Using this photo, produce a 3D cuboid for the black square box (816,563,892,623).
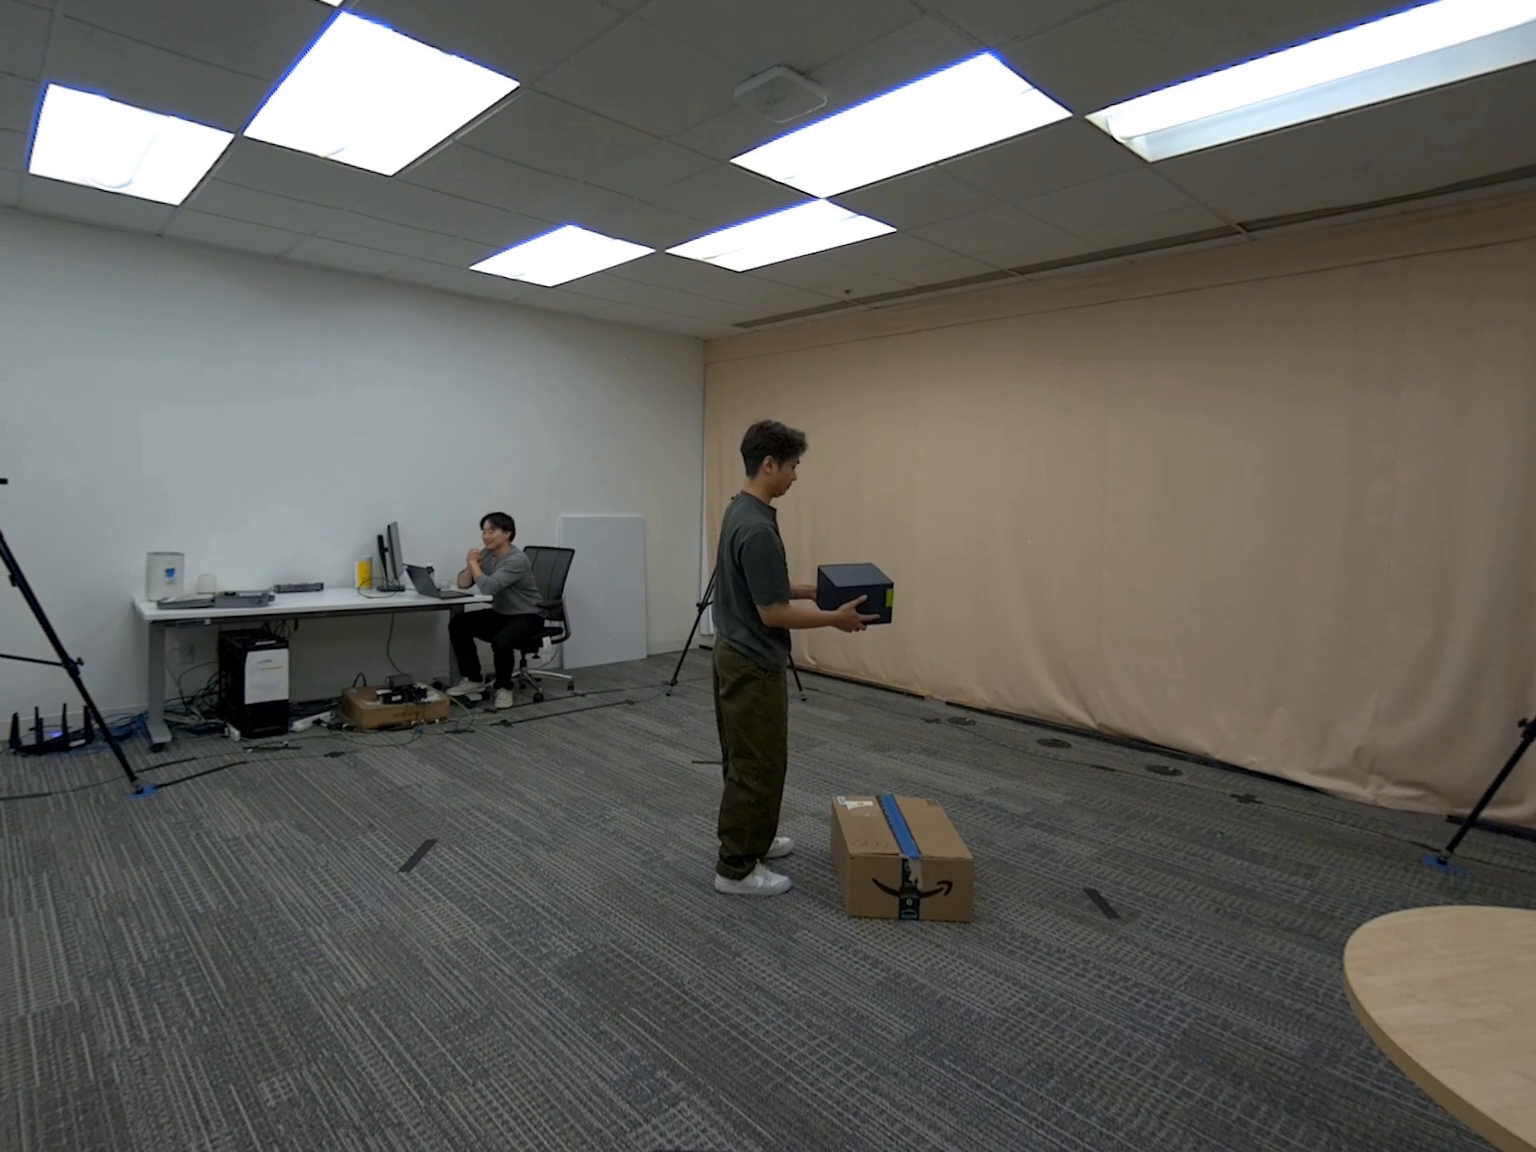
[{"bbox_3d":[0.301,0.058,3.038,0.216,0.154,0.231,-1,14,-6],"label":"black square box"}]
